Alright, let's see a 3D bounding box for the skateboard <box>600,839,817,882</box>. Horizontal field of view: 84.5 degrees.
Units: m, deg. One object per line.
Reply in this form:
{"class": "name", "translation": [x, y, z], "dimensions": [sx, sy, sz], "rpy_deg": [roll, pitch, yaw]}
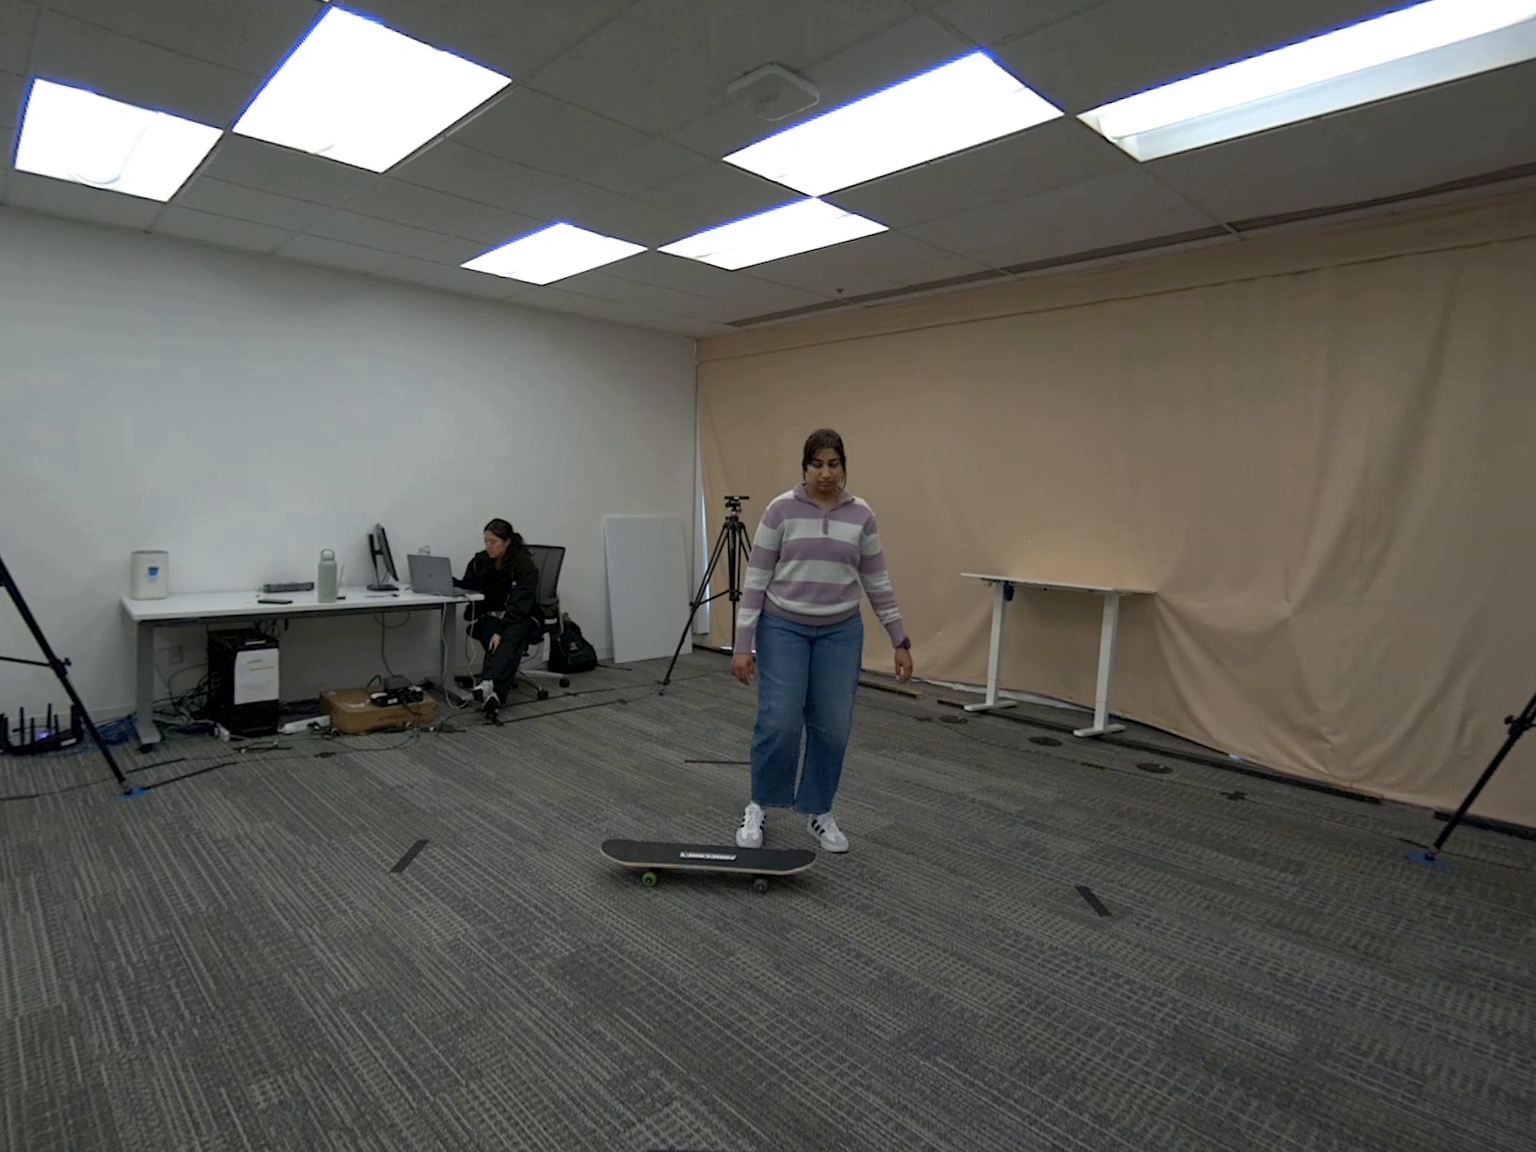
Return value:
{"class": "skateboard", "translation": [-0.227, 1.048, 3.060], "dimensions": [0.789, 0.110, 0.193], "rpy_deg": [2, 4, 5]}
